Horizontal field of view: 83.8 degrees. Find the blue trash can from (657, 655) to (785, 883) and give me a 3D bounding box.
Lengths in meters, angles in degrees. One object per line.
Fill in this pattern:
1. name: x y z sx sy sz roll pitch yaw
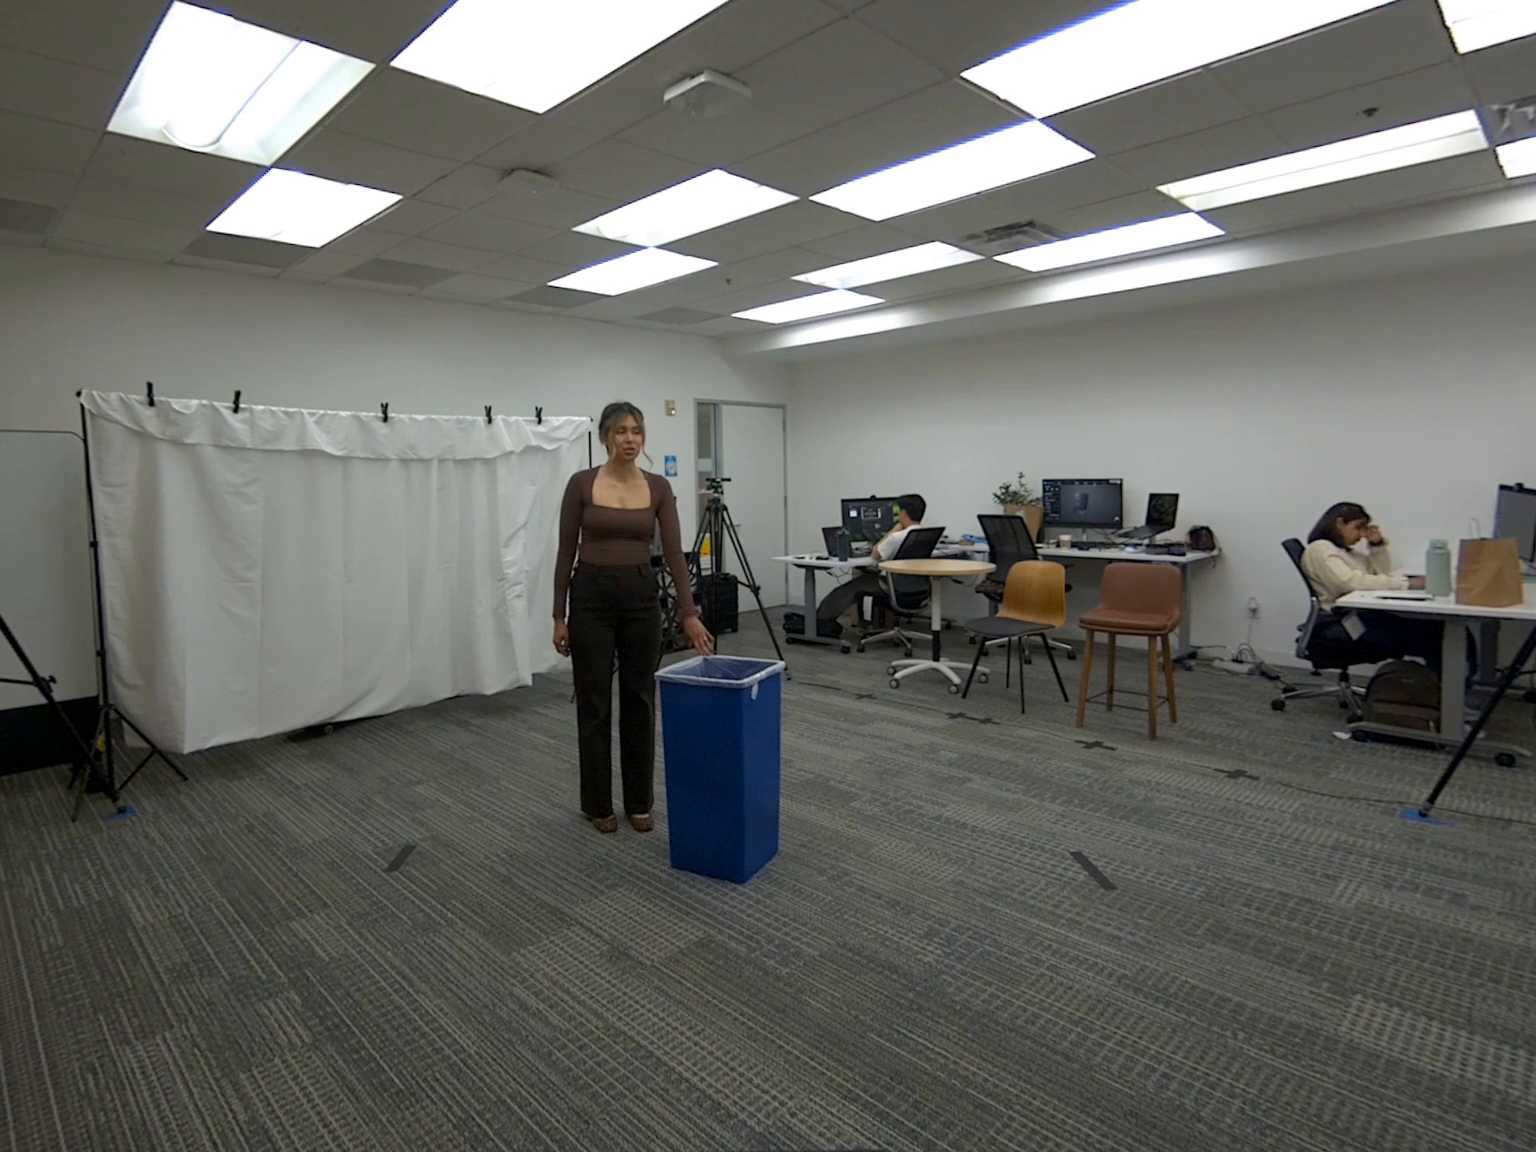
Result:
1. blue trash can: -0.165 0.684 3.117 0.383 0.711 0.370 2 4 27
